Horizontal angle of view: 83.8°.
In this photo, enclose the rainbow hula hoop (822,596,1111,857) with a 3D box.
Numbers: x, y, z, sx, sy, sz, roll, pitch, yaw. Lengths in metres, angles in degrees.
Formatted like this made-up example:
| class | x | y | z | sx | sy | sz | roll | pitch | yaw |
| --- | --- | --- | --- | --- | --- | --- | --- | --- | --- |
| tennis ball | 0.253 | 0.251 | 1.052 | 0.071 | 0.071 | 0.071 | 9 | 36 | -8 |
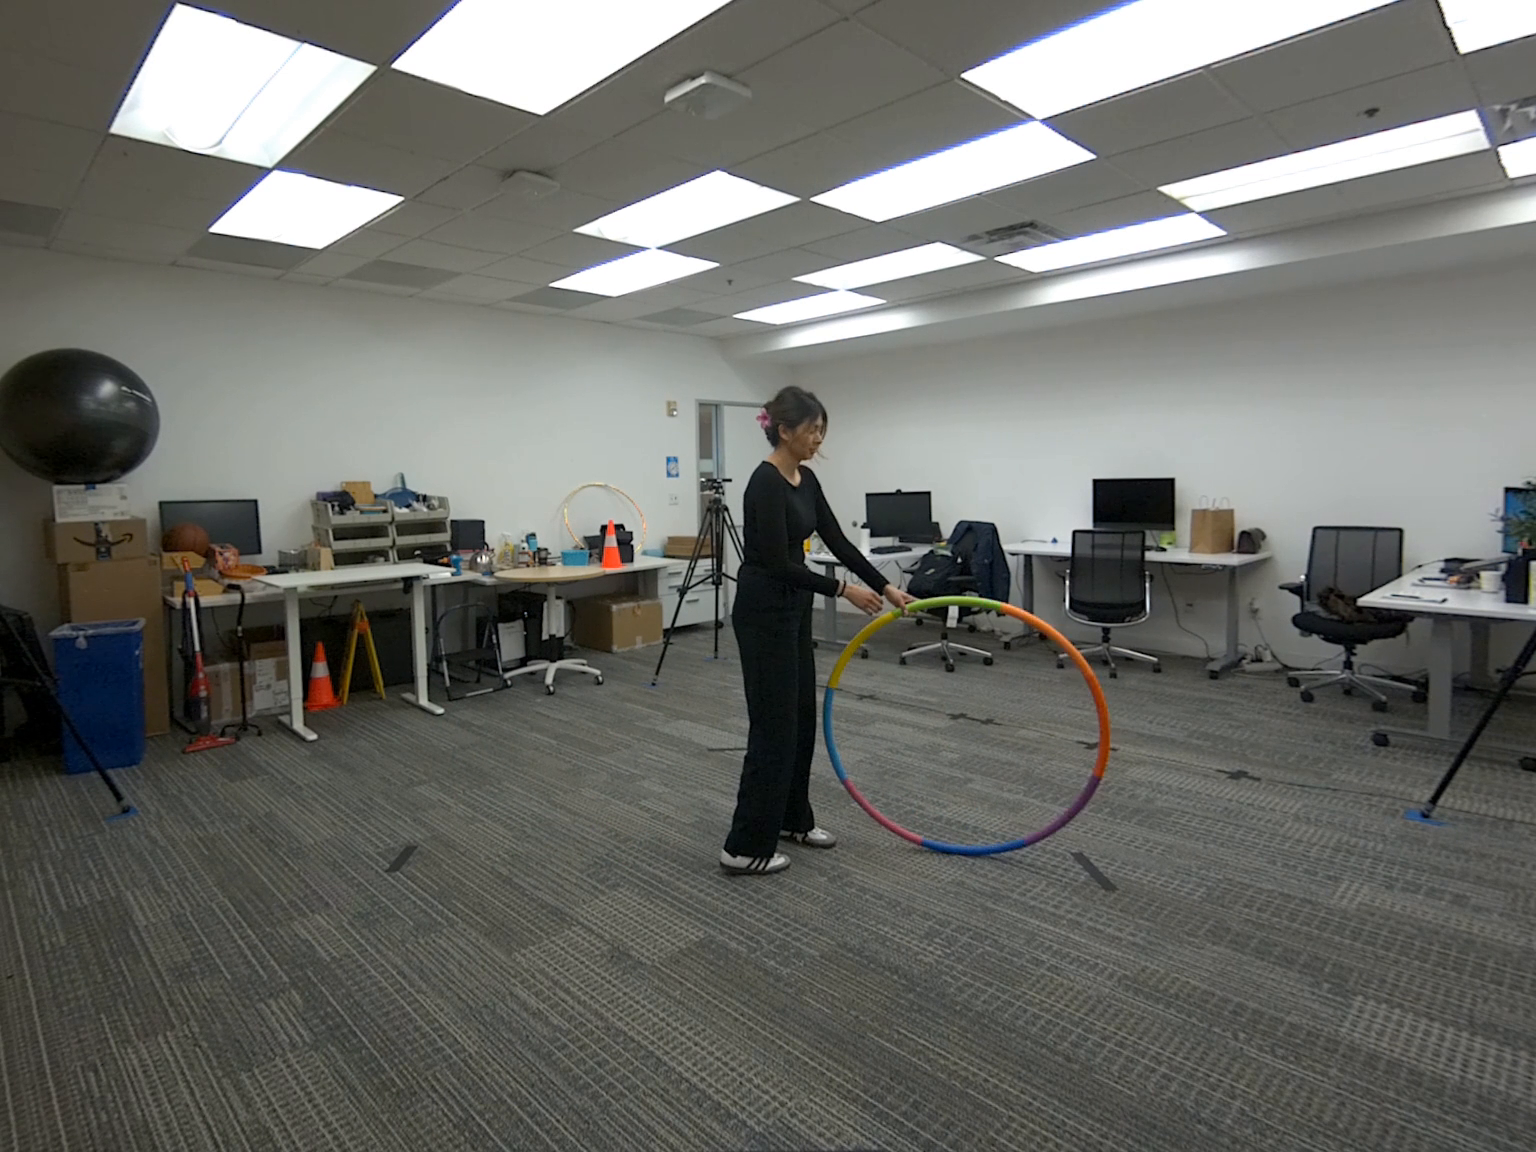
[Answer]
| class | x | y | z | sx | sy | sz | roll | pitch | yaw |
| --- | --- | --- | --- | --- | --- | --- | --- | --- | --- |
| rainbow hula hoop | 0.671 | 0.549 | 3.076 | 0.994 | 0.968 | 0.035 | 1 | 12 | 16 |
